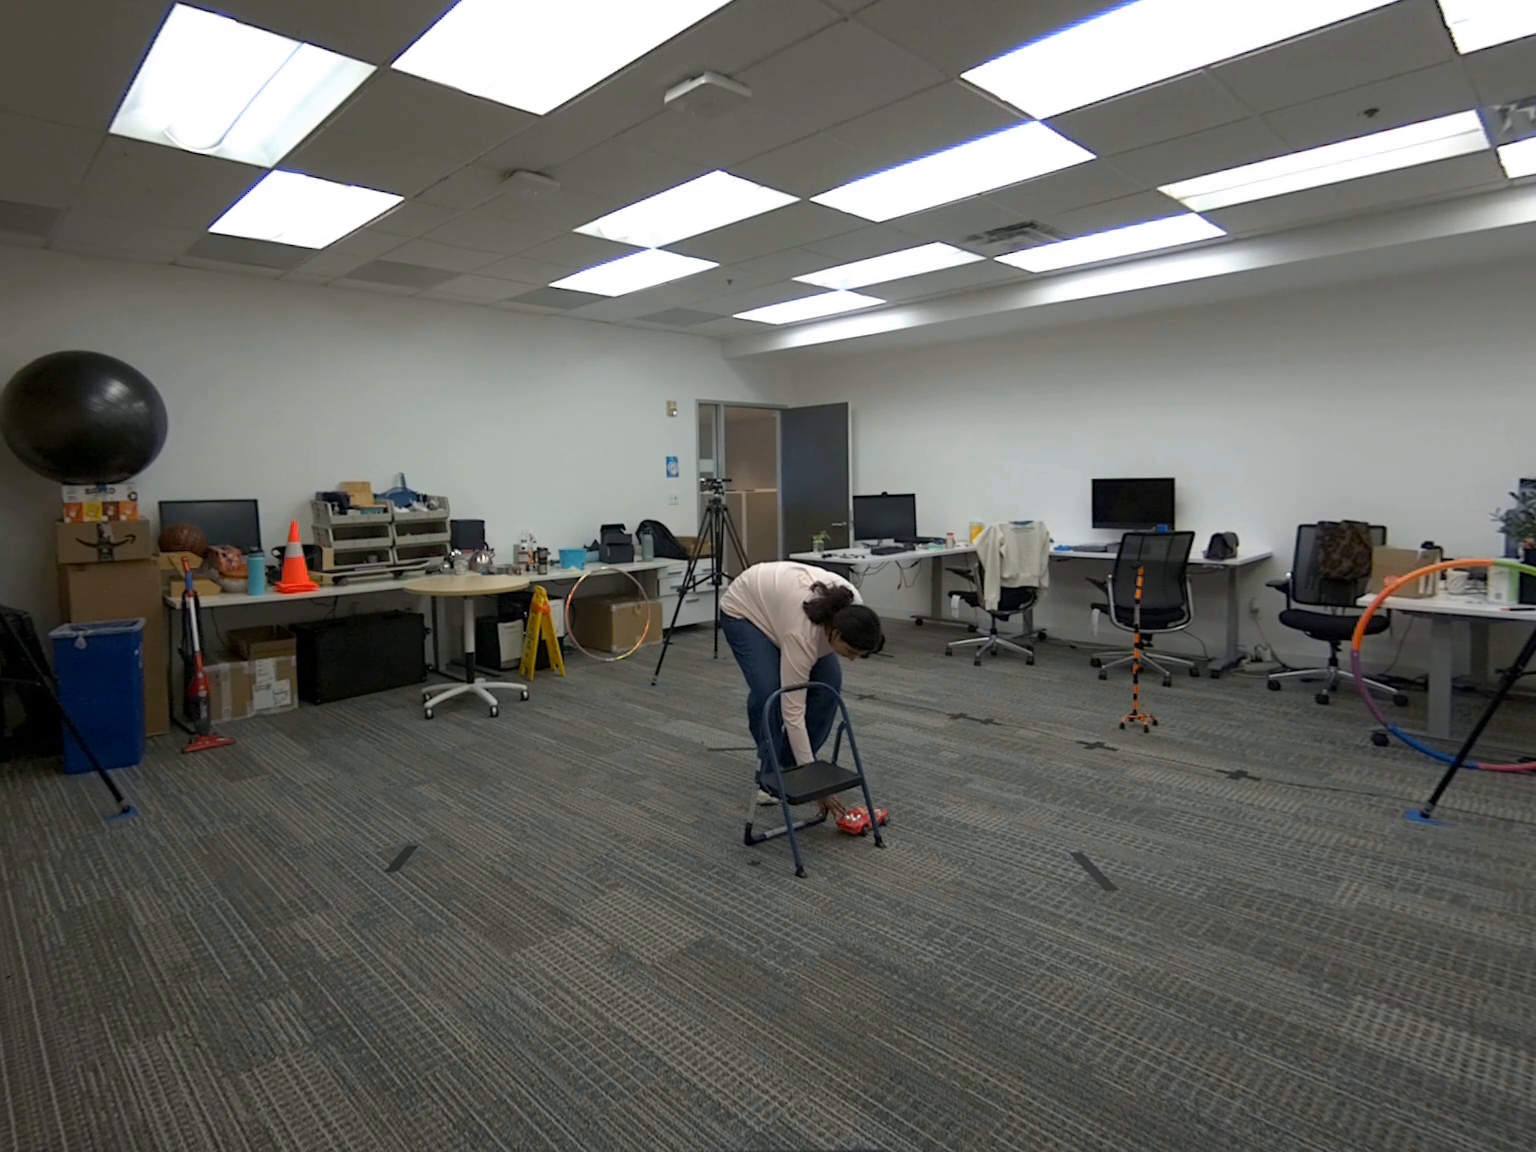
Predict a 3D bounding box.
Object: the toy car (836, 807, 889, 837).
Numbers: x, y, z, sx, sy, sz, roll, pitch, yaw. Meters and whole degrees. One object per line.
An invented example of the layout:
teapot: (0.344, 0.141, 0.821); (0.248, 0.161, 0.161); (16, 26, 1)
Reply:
toy car: (0.370, 0.977, 3.398); (0.246, 0.083, 0.134); (8, -1, -44)
